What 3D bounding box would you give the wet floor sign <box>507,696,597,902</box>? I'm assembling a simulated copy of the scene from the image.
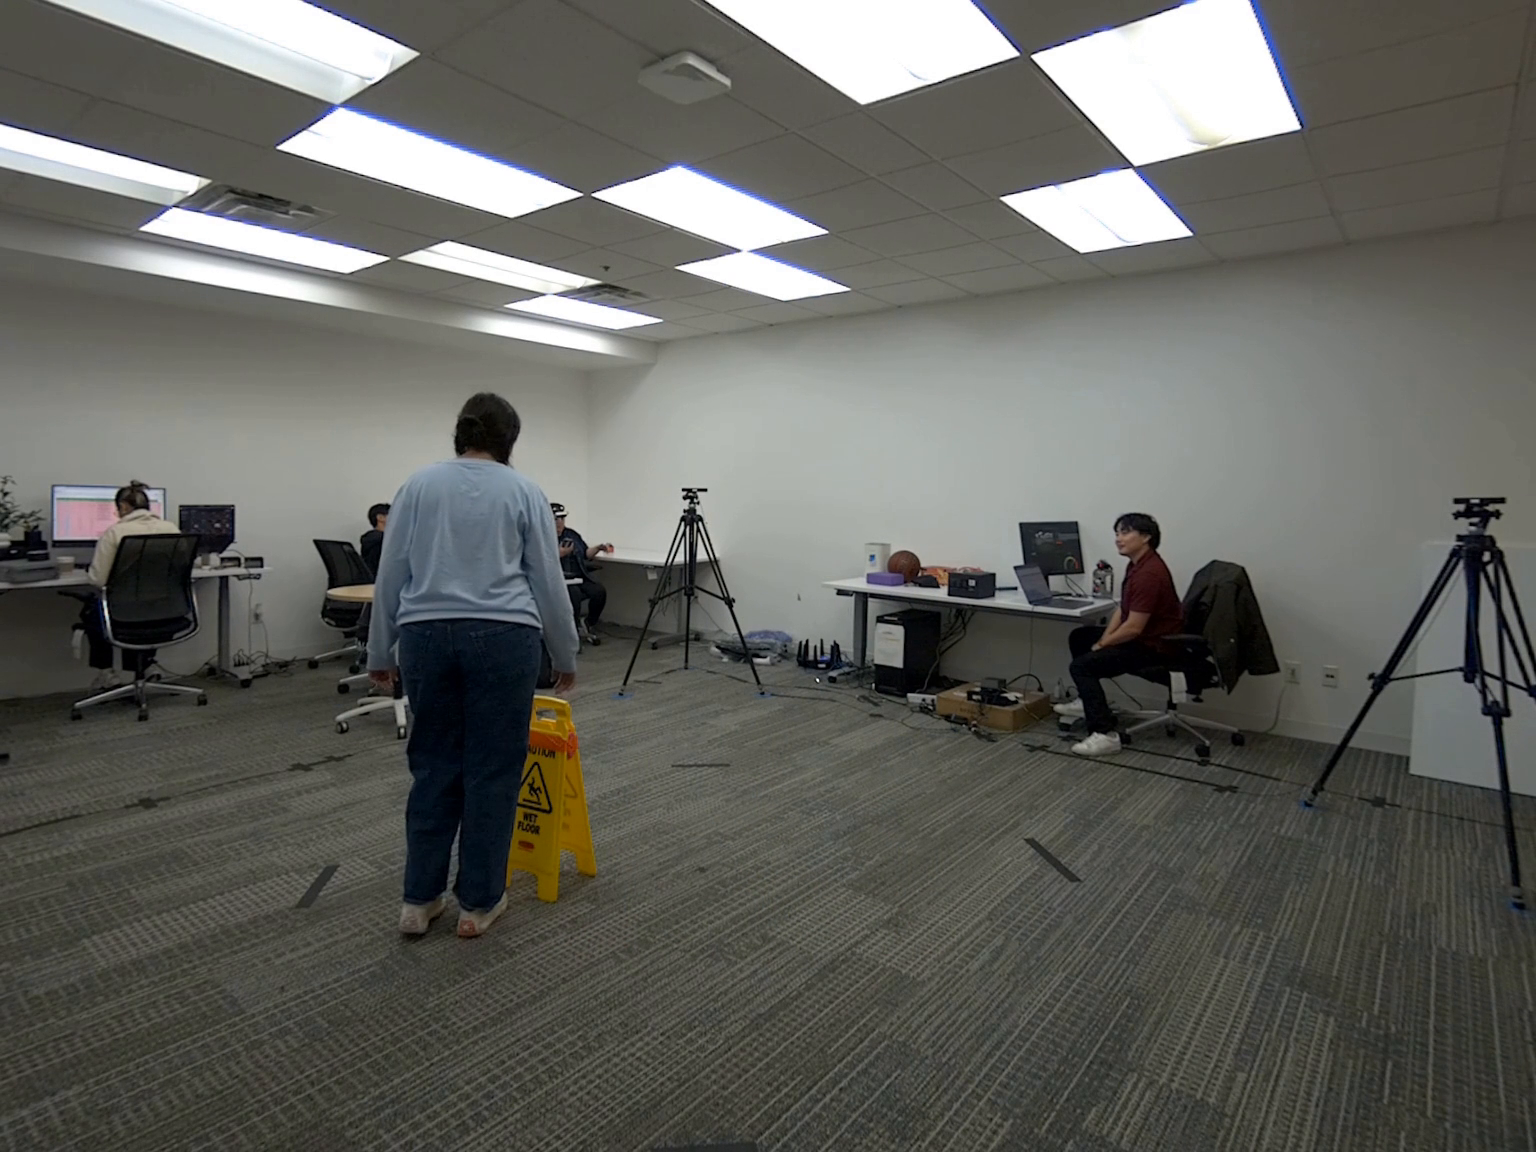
[{"bbox_3d":[-0.798,0.748,2.981,0.290,0.644,0.283,2,3,25],"label":"wet floor sign"}]
